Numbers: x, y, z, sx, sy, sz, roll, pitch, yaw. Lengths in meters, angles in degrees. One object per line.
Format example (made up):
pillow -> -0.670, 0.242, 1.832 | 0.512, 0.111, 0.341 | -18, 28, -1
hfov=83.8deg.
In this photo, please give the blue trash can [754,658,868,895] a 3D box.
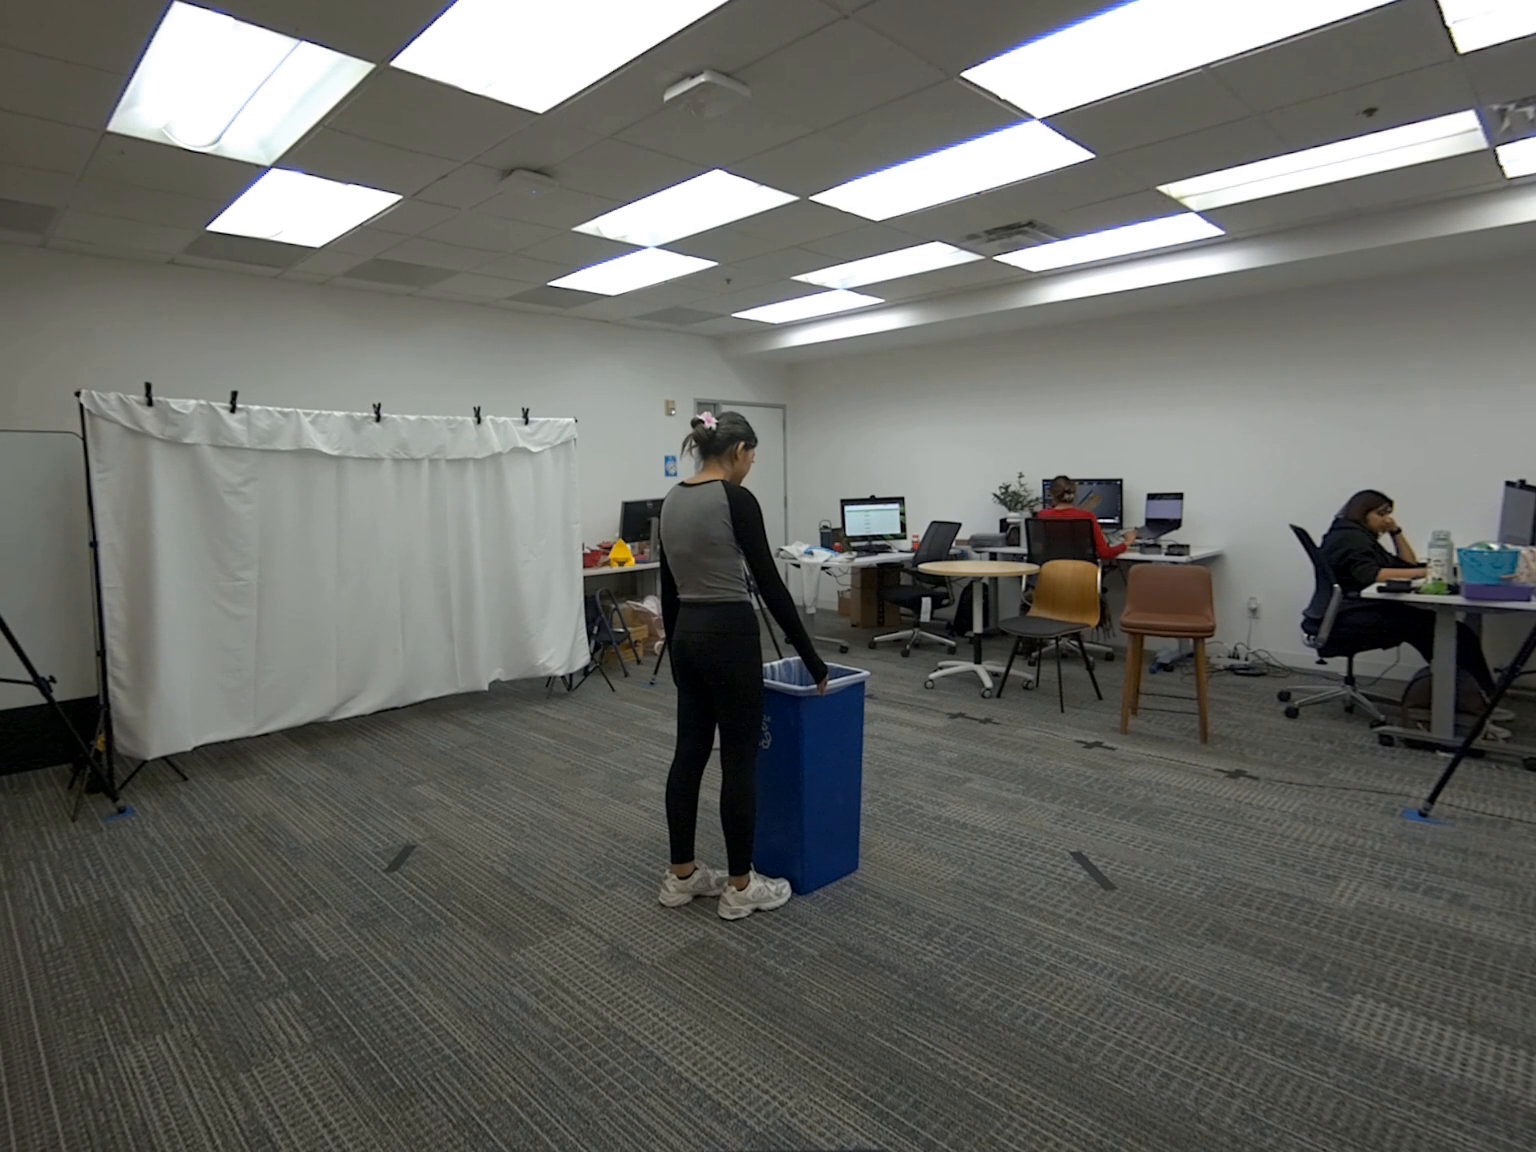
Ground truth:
blue trash can -> 0.123, 0.689, 3.032 | 0.368, 0.711, 0.385 | -5, 6, -43
